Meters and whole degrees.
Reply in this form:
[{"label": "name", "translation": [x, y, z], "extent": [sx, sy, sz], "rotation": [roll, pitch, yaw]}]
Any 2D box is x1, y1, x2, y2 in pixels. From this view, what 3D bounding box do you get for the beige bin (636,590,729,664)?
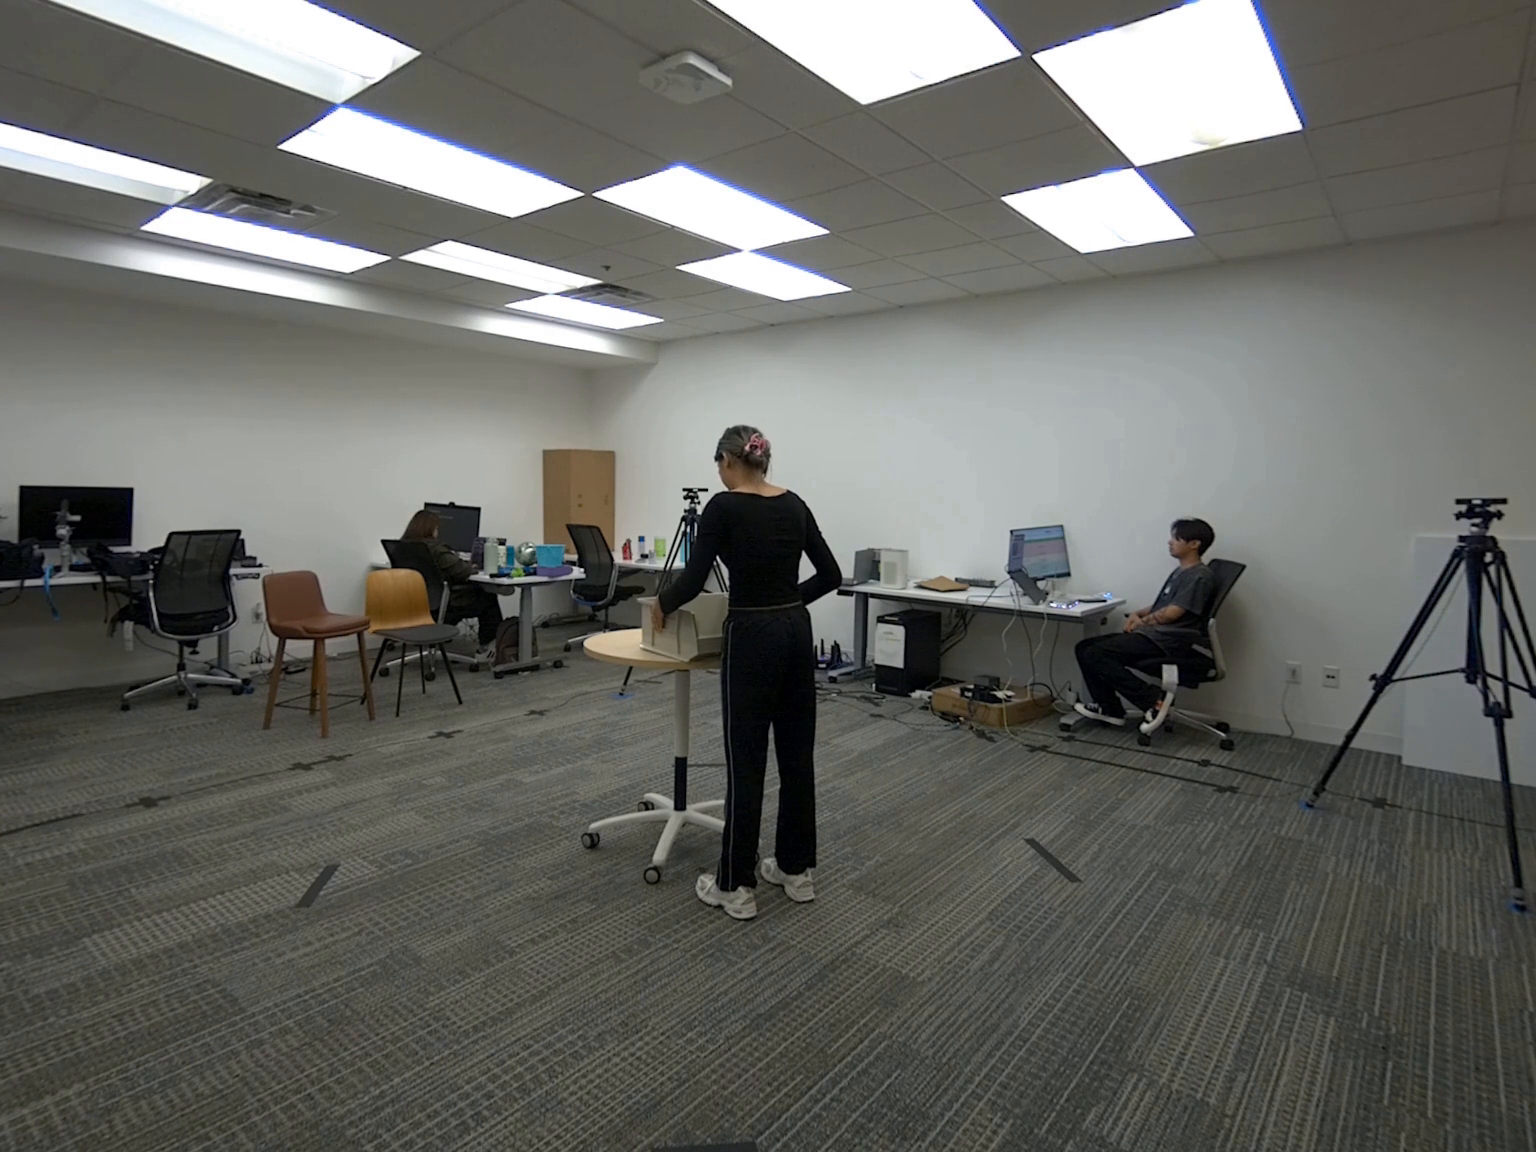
[{"label": "beige bin", "translation": [-0.209, 0.176, 3.123], "extent": [0.410, 0.188, 0.390], "rotation": [-4, 5, -39]}]
